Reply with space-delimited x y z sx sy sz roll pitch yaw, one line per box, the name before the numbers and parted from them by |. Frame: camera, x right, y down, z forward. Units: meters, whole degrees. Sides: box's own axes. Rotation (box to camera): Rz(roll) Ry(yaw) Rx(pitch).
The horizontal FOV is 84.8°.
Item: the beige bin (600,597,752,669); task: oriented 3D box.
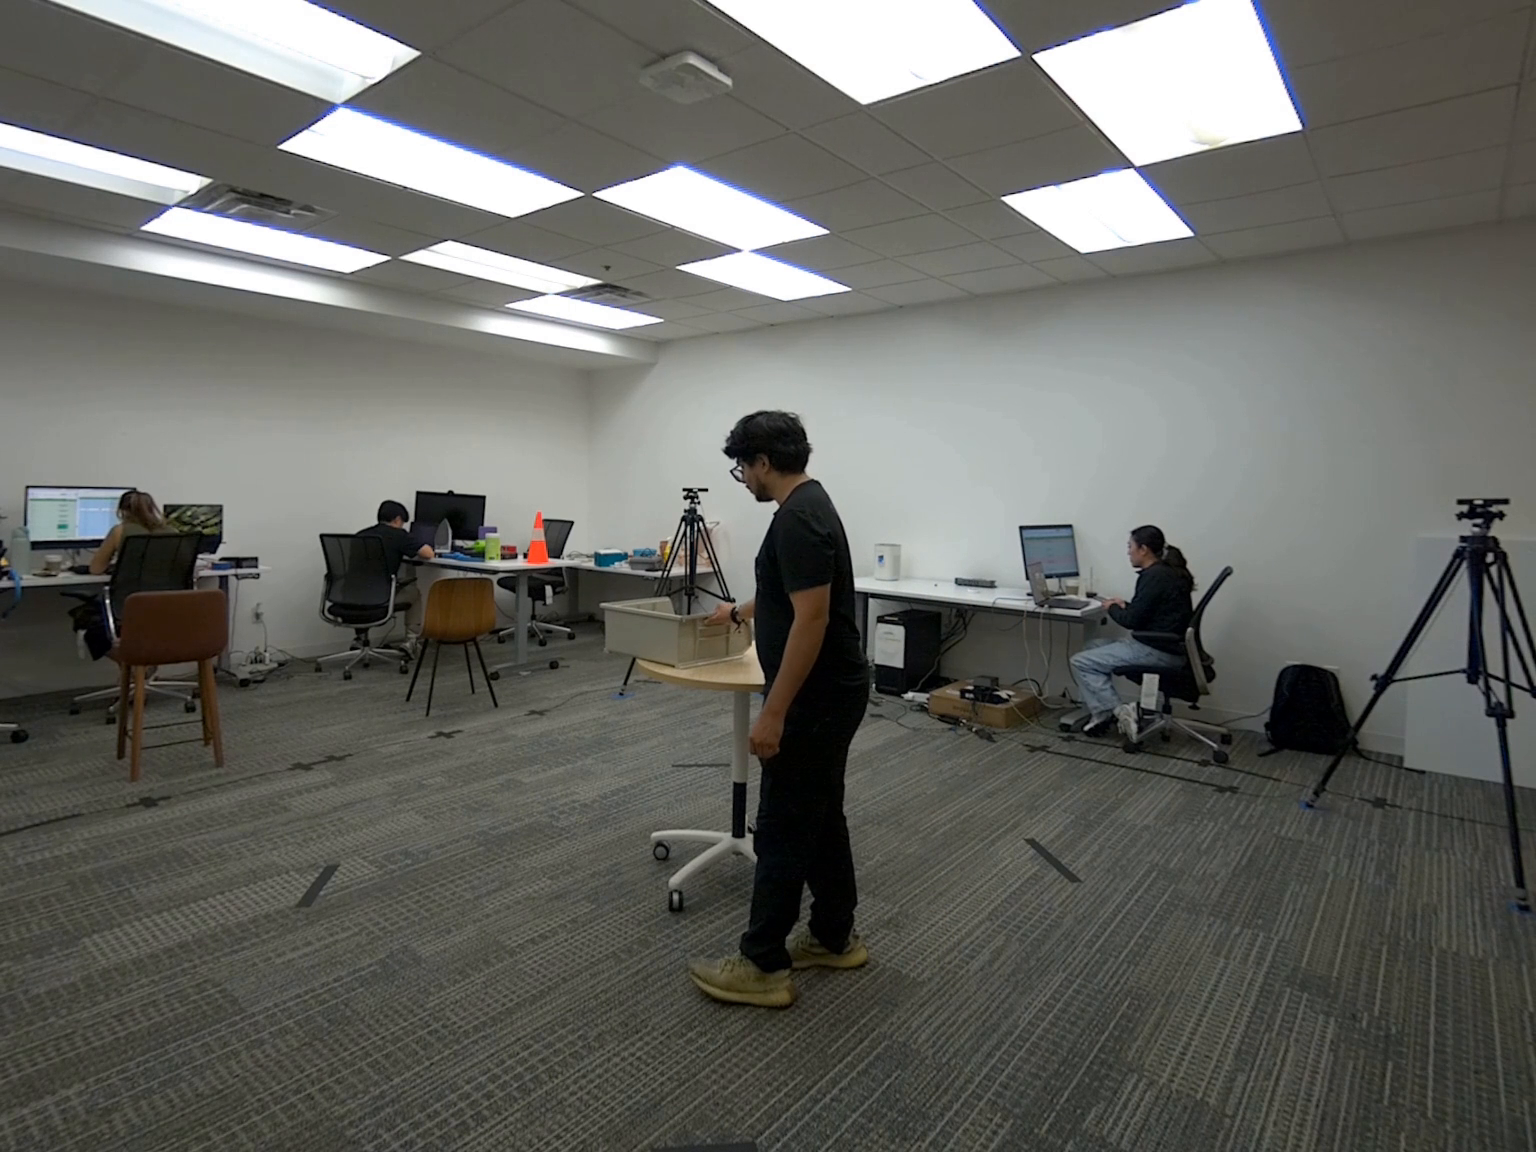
beige bin | -0.340 0.195 3.088 0.437 0.188 0.366 6 8 41
